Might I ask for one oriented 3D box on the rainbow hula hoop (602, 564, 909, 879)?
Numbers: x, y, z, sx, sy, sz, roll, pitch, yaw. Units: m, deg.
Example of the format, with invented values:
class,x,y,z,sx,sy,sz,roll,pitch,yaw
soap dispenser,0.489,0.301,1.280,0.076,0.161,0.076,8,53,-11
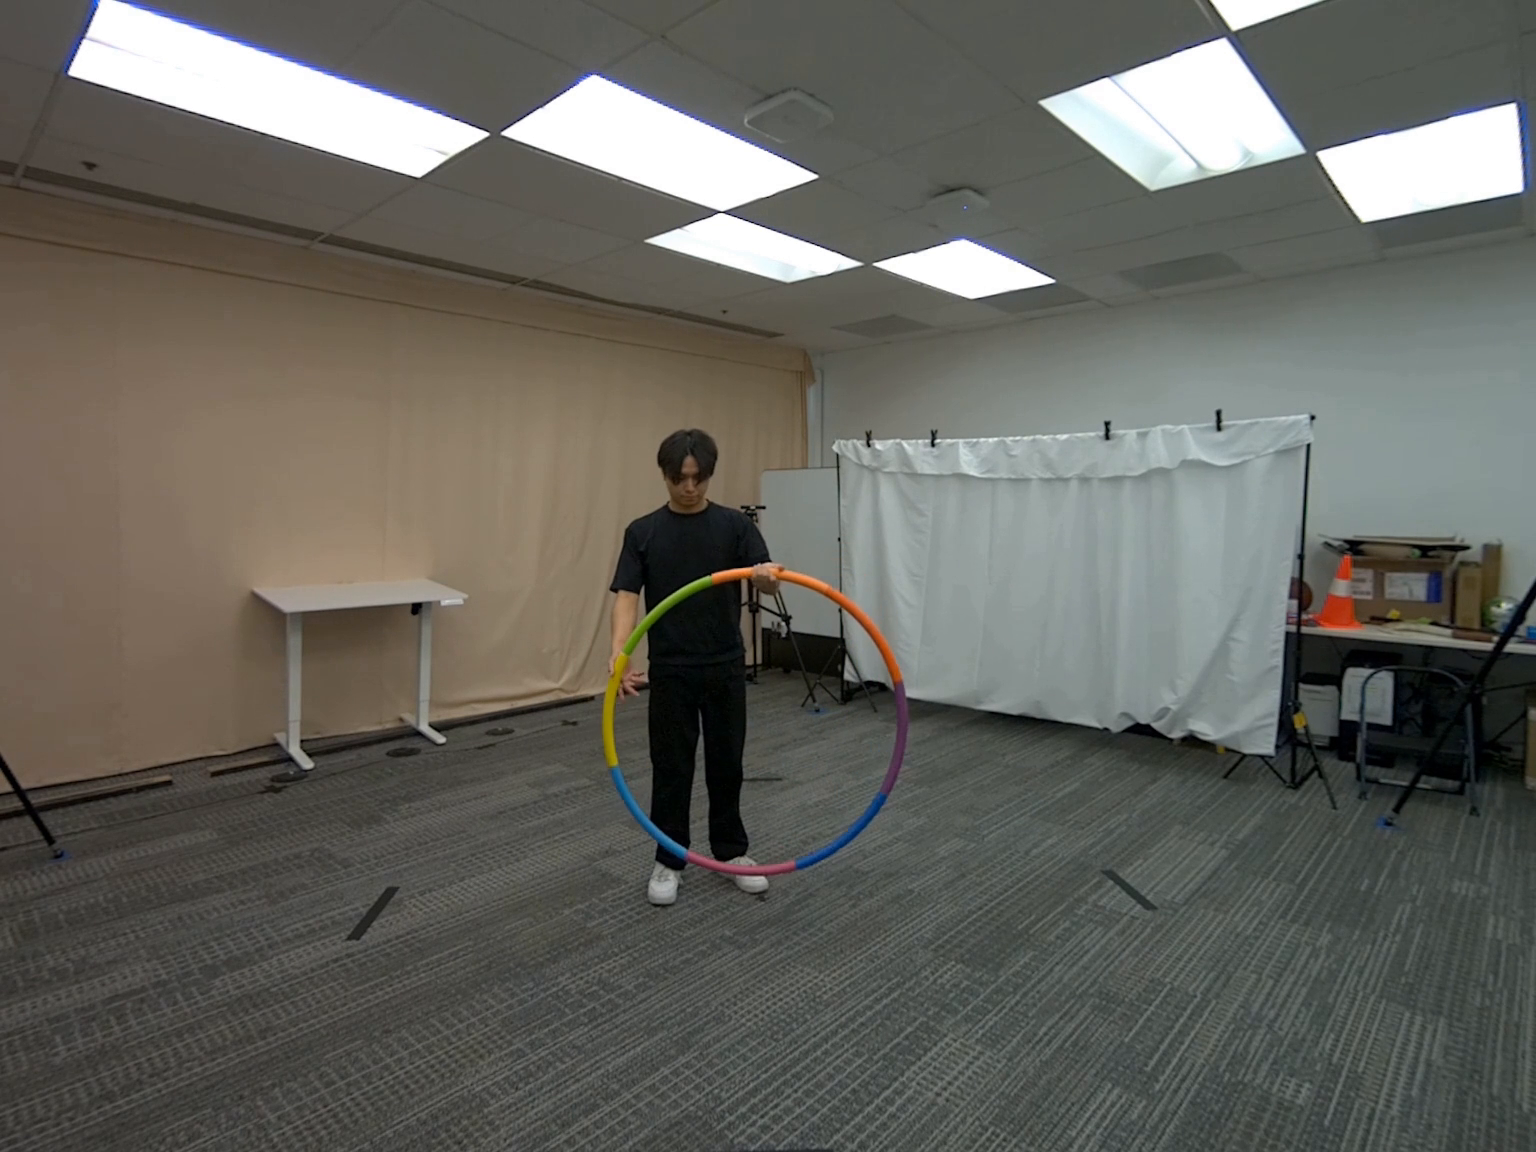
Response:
class,x,y,z,sx,sy,sz,roll,pitch,yaw
rainbow hula hoop,-0.028,0.471,2.700,0.978,0.976,0.035,0,3,0
